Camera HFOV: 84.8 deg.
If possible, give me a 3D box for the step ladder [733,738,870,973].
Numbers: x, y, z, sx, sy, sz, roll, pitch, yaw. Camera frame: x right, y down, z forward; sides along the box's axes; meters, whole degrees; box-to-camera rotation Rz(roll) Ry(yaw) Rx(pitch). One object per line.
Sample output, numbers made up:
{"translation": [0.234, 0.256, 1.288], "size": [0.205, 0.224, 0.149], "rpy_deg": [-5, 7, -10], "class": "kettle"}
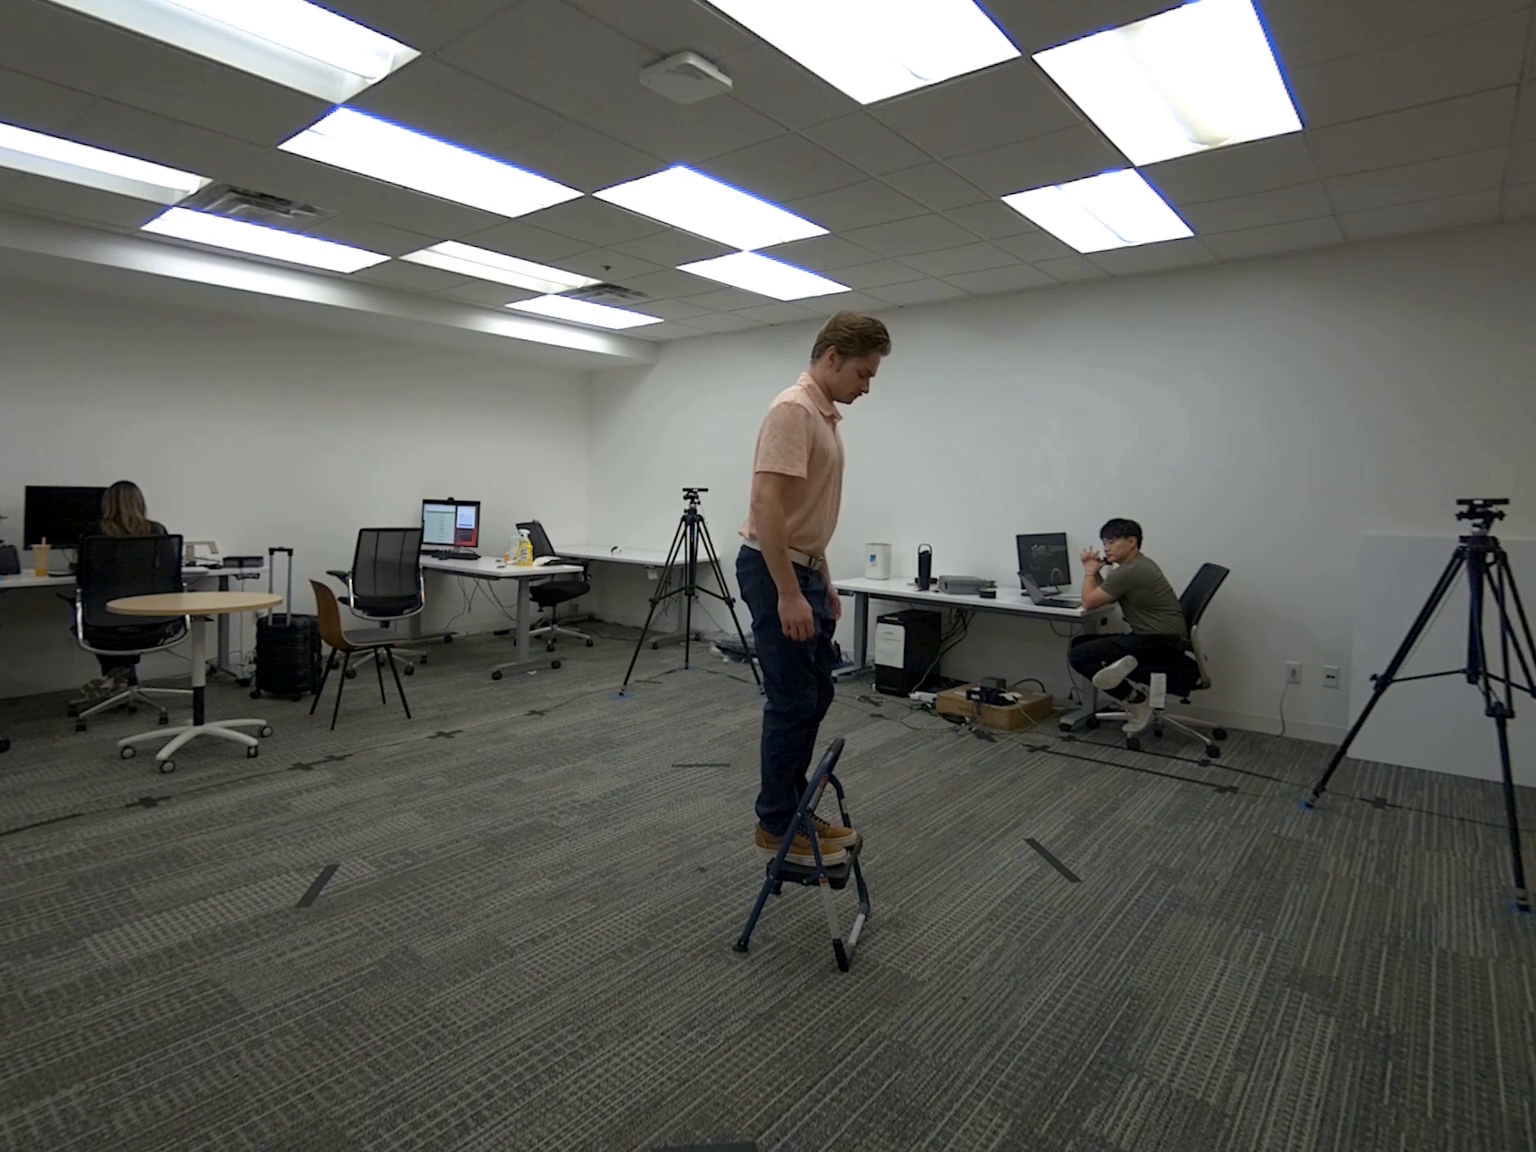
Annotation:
{"translation": [0.123, 0.817, 2.686], "size": [0.356, 0.604, 0.424], "rpy_deg": [3, 4, 17], "class": "step ladder"}
